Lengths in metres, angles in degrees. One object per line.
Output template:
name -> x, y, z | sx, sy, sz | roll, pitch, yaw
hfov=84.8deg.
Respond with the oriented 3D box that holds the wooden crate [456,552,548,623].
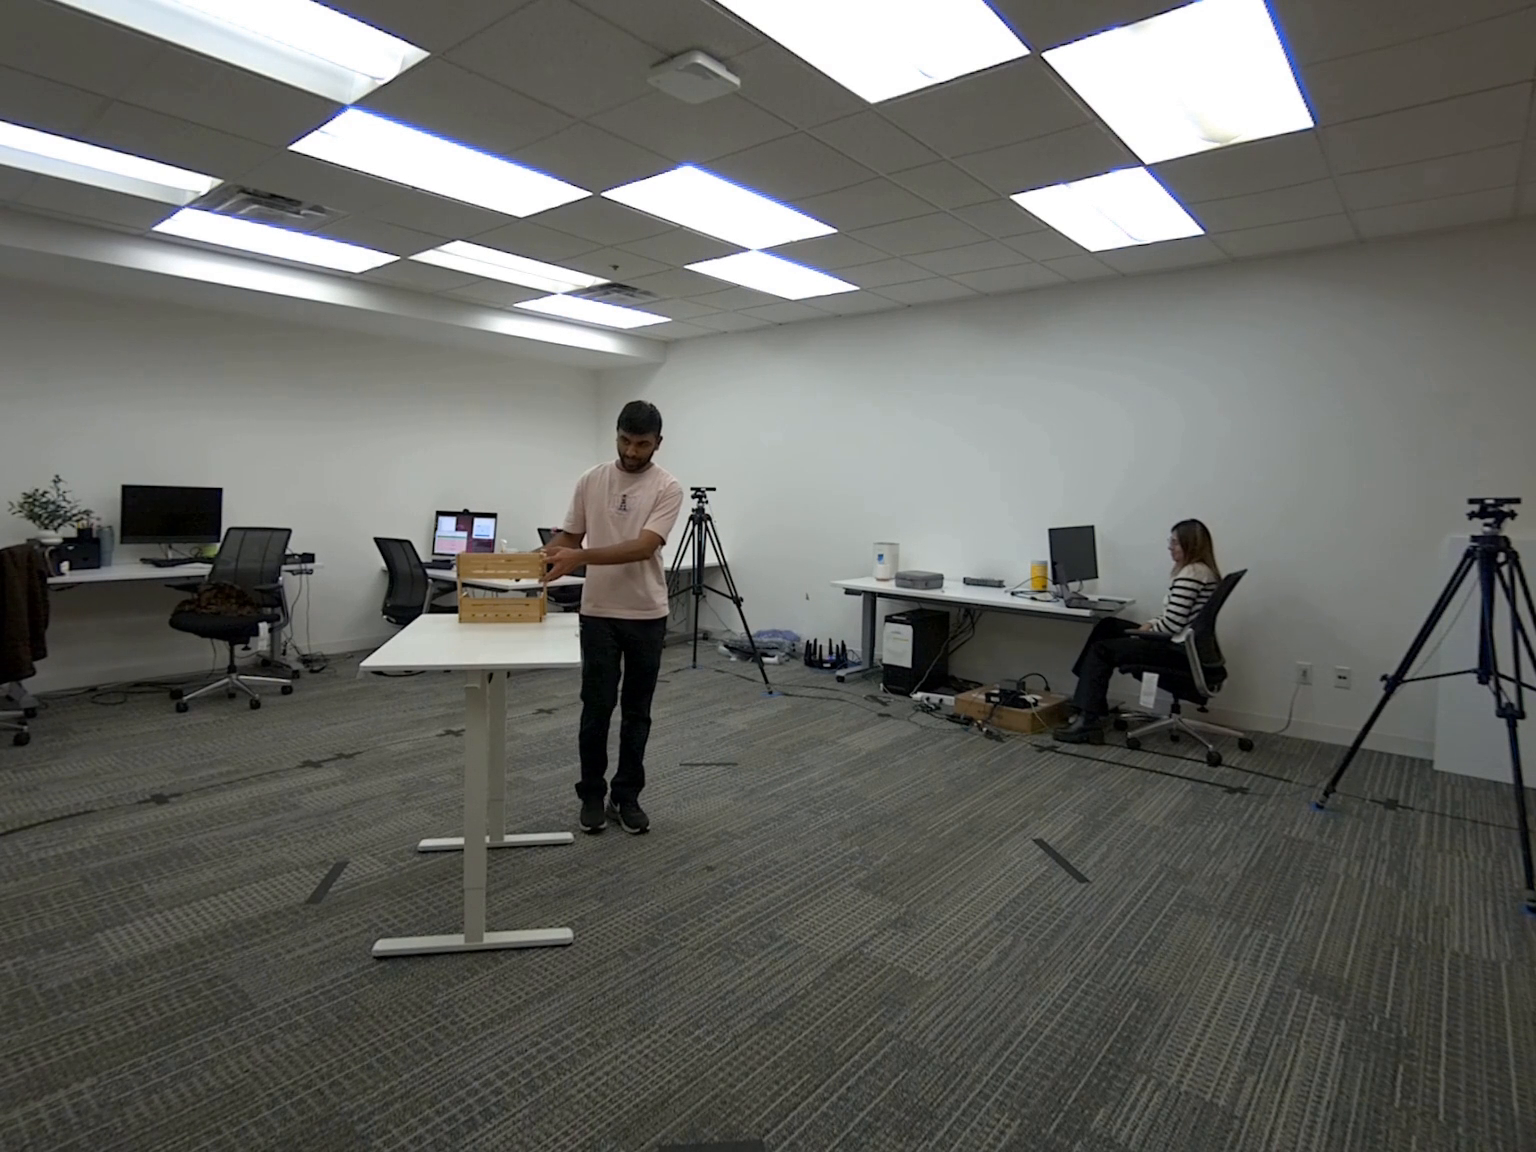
wooden crate -> -1.029, 0.035, 3.227 | 0.320, 0.273, 0.306 | 0, 3, -12
